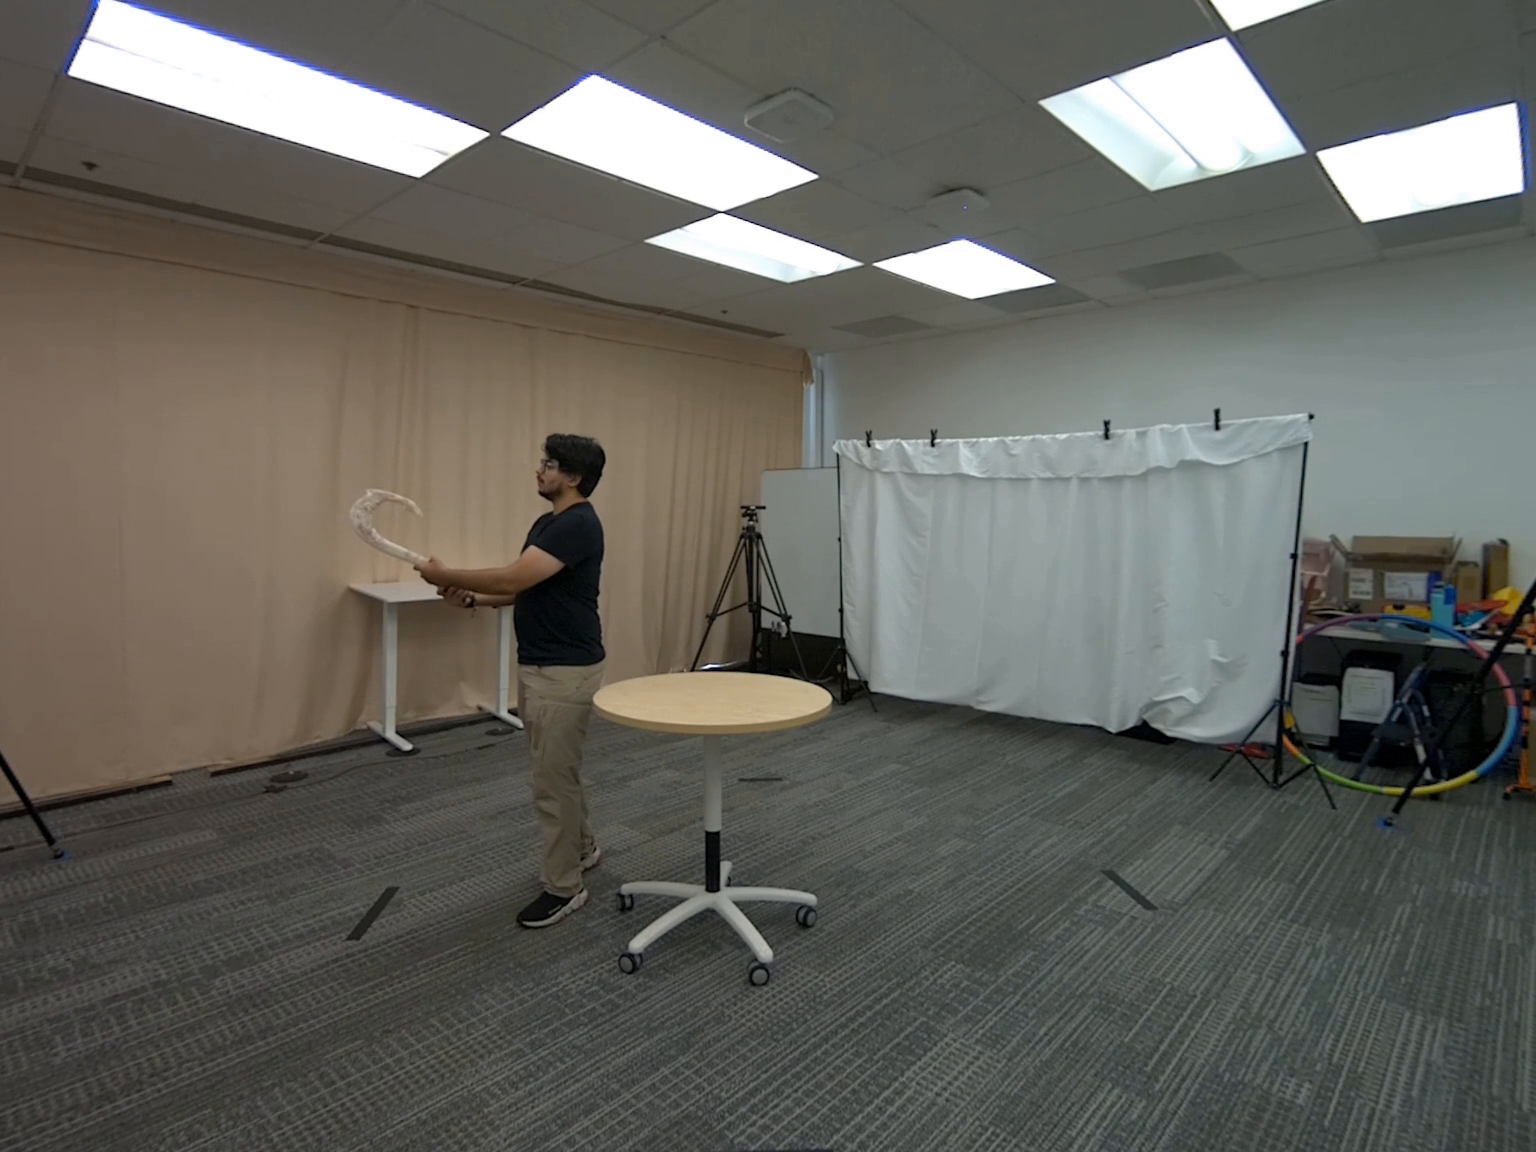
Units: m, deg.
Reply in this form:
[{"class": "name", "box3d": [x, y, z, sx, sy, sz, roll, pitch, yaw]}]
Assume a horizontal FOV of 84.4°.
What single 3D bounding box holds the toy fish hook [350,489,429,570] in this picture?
[{"class": "toy fish hook", "box3d": [-1.209, -0.106, 2.903, 0.497, 0.224, 0.049, 40, -35, -16]}]
